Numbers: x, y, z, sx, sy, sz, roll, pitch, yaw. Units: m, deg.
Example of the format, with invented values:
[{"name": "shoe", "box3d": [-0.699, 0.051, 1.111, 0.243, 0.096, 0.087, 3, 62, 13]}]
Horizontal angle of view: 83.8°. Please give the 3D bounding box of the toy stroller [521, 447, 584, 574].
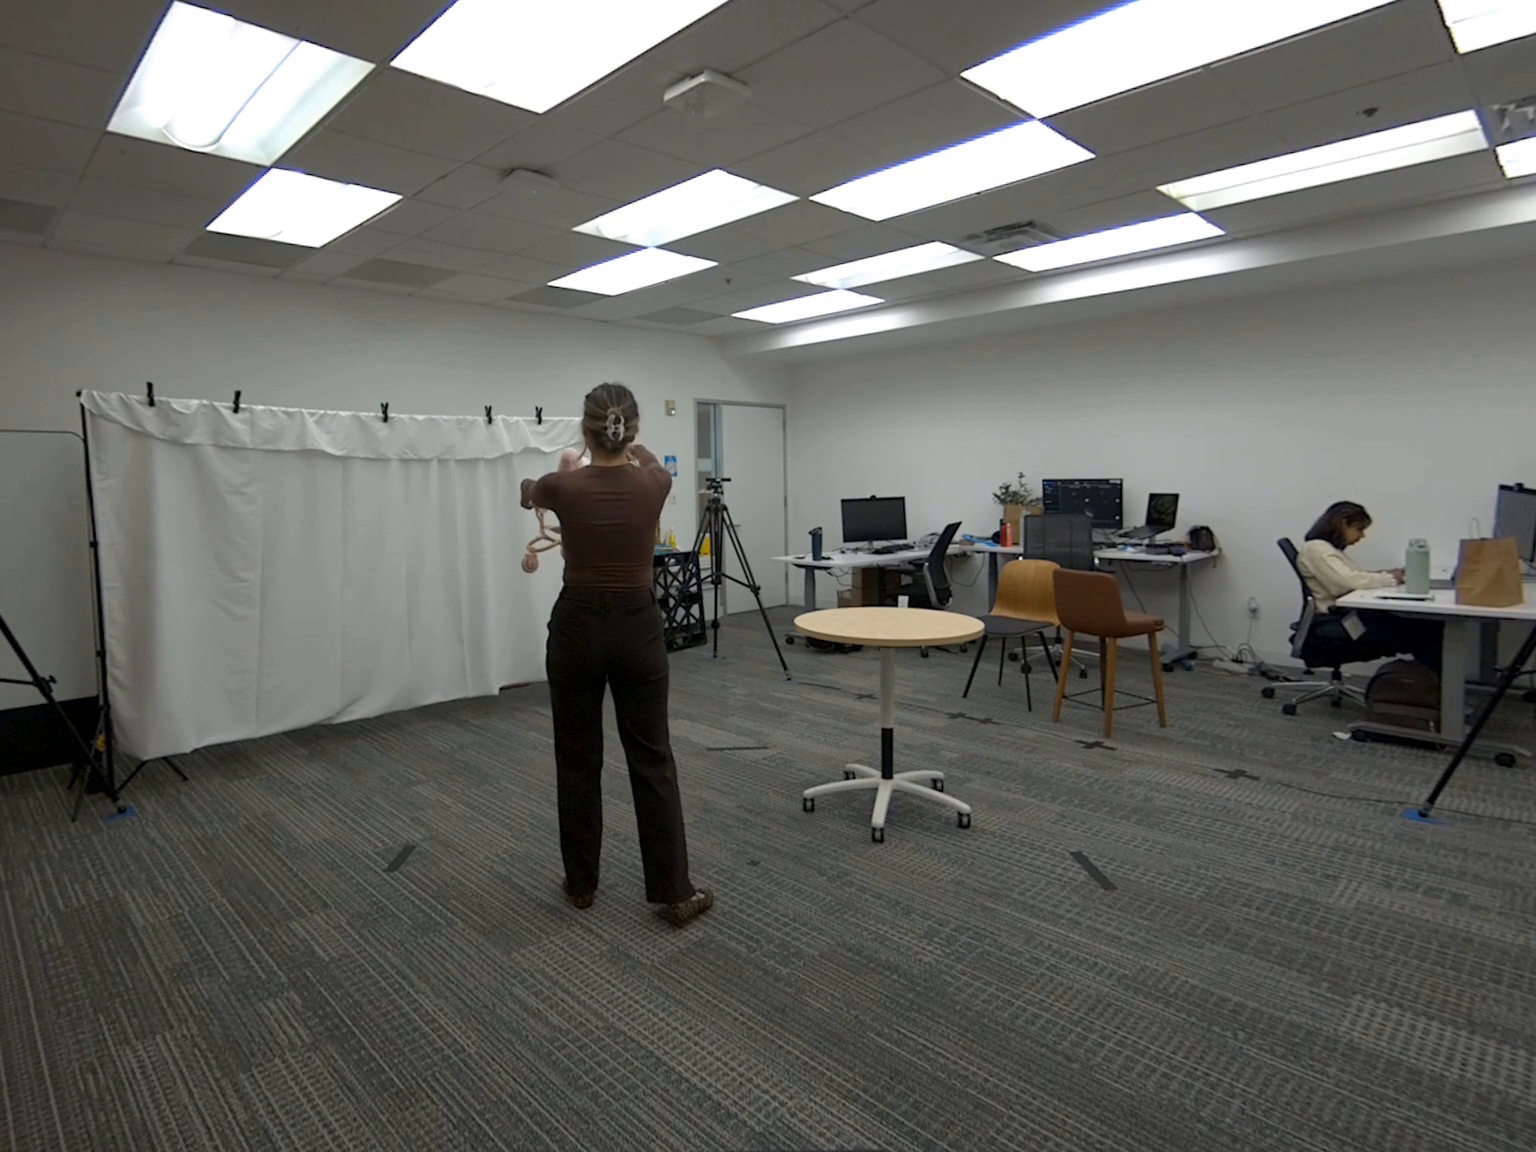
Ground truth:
[{"name": "toy stroller", "box3d": [-0.764, -0.257, 3.354, 0.331, 0.536, 0.290, 10, -3, -34]}]
